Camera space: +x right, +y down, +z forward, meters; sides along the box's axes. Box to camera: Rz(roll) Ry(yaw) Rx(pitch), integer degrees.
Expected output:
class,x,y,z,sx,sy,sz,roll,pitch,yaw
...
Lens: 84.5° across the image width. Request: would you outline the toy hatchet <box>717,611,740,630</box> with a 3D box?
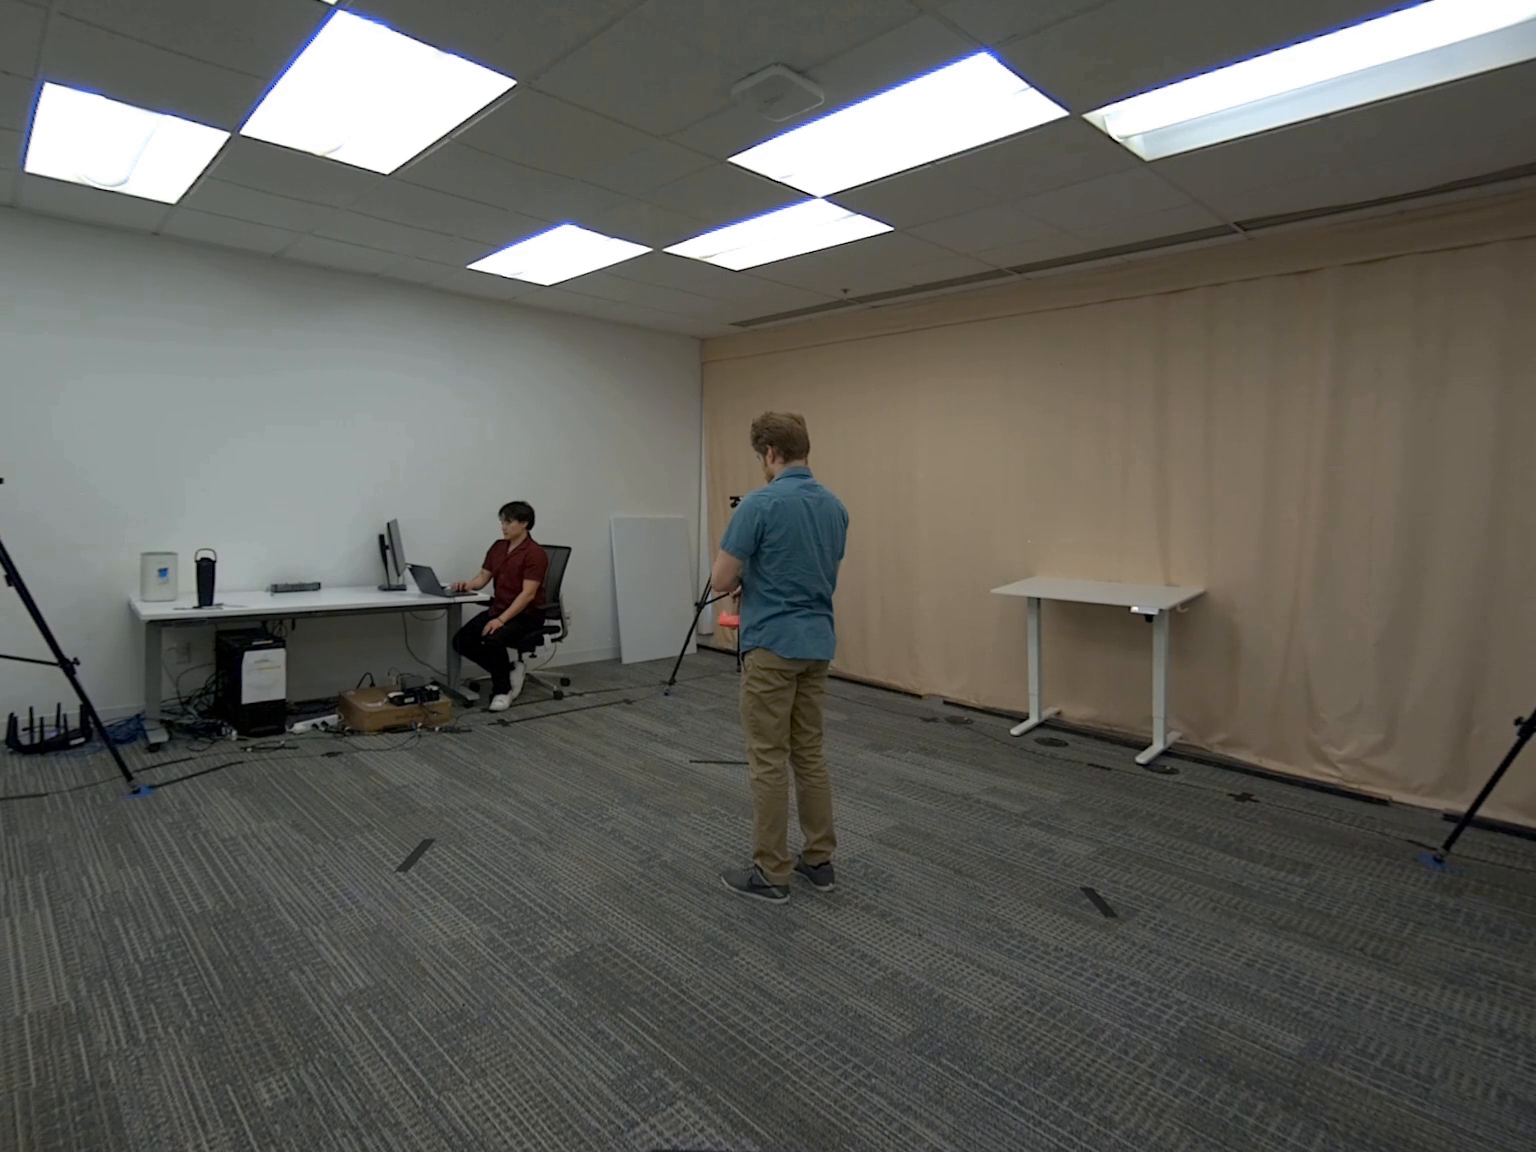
class,x,y,z,sx,sy,sz,roll,pitch,yaw
toy hatchet,-0.164,0.091,3.314,0.131,0.277,0.029,-22,-38,6
